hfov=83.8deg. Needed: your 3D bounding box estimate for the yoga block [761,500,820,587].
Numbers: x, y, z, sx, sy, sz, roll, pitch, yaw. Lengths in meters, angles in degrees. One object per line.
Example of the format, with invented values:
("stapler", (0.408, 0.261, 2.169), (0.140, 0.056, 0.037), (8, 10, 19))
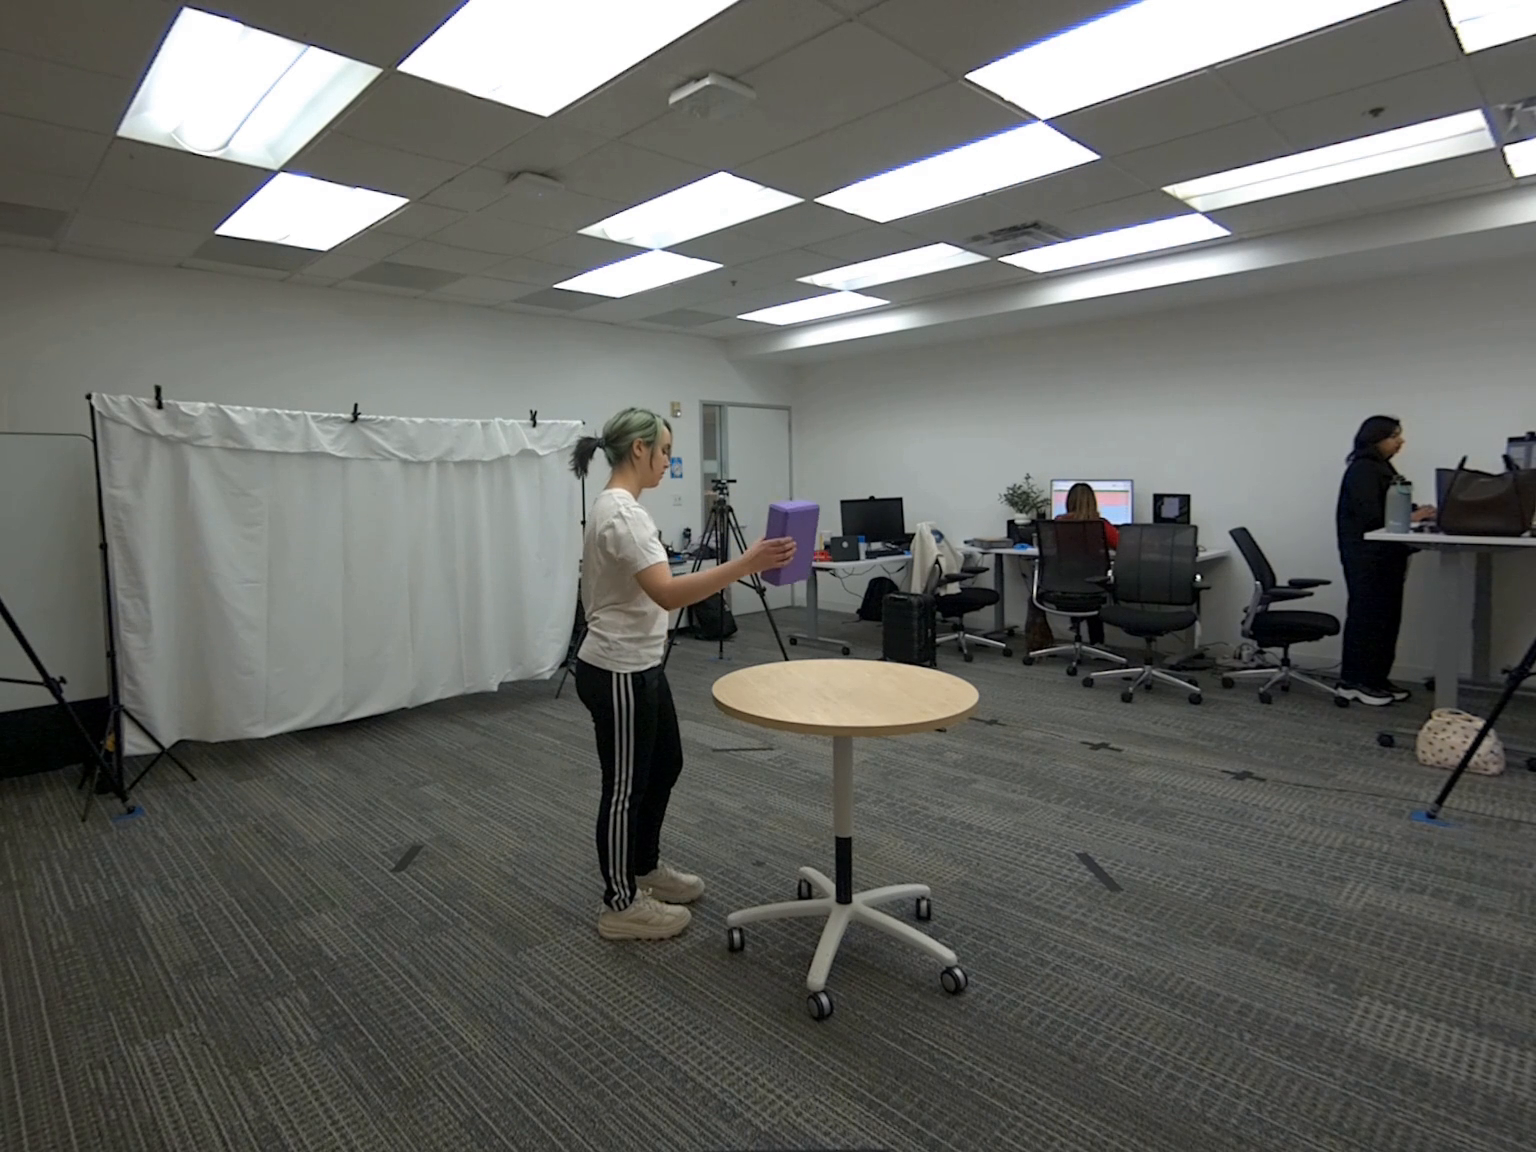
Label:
("yoga block", (0.064, -0.090, 2.449), (0.145, 0.227, 0.079), (-6, 19, -39))
